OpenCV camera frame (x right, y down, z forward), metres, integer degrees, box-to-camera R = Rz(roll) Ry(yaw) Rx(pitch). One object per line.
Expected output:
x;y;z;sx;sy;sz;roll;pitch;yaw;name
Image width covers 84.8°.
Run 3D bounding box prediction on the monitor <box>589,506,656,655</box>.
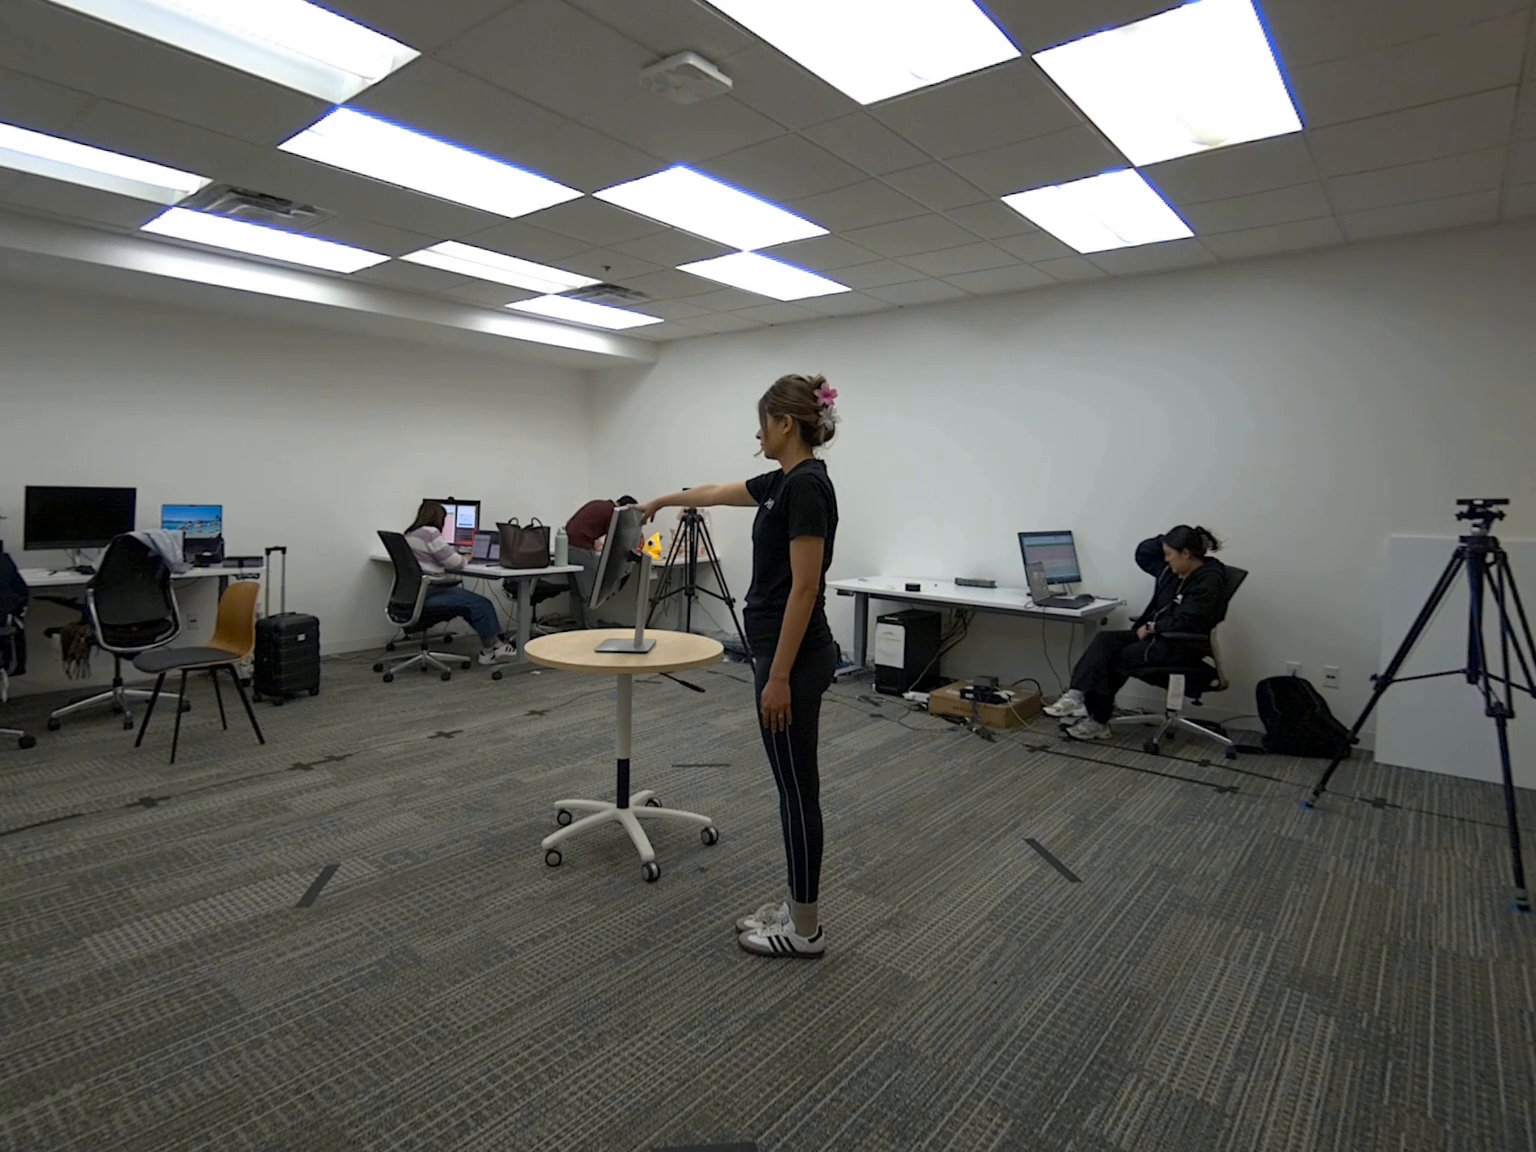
-0.545;0.009;3.246;0.187;0.521;0.541;2;5;-1;monitor
